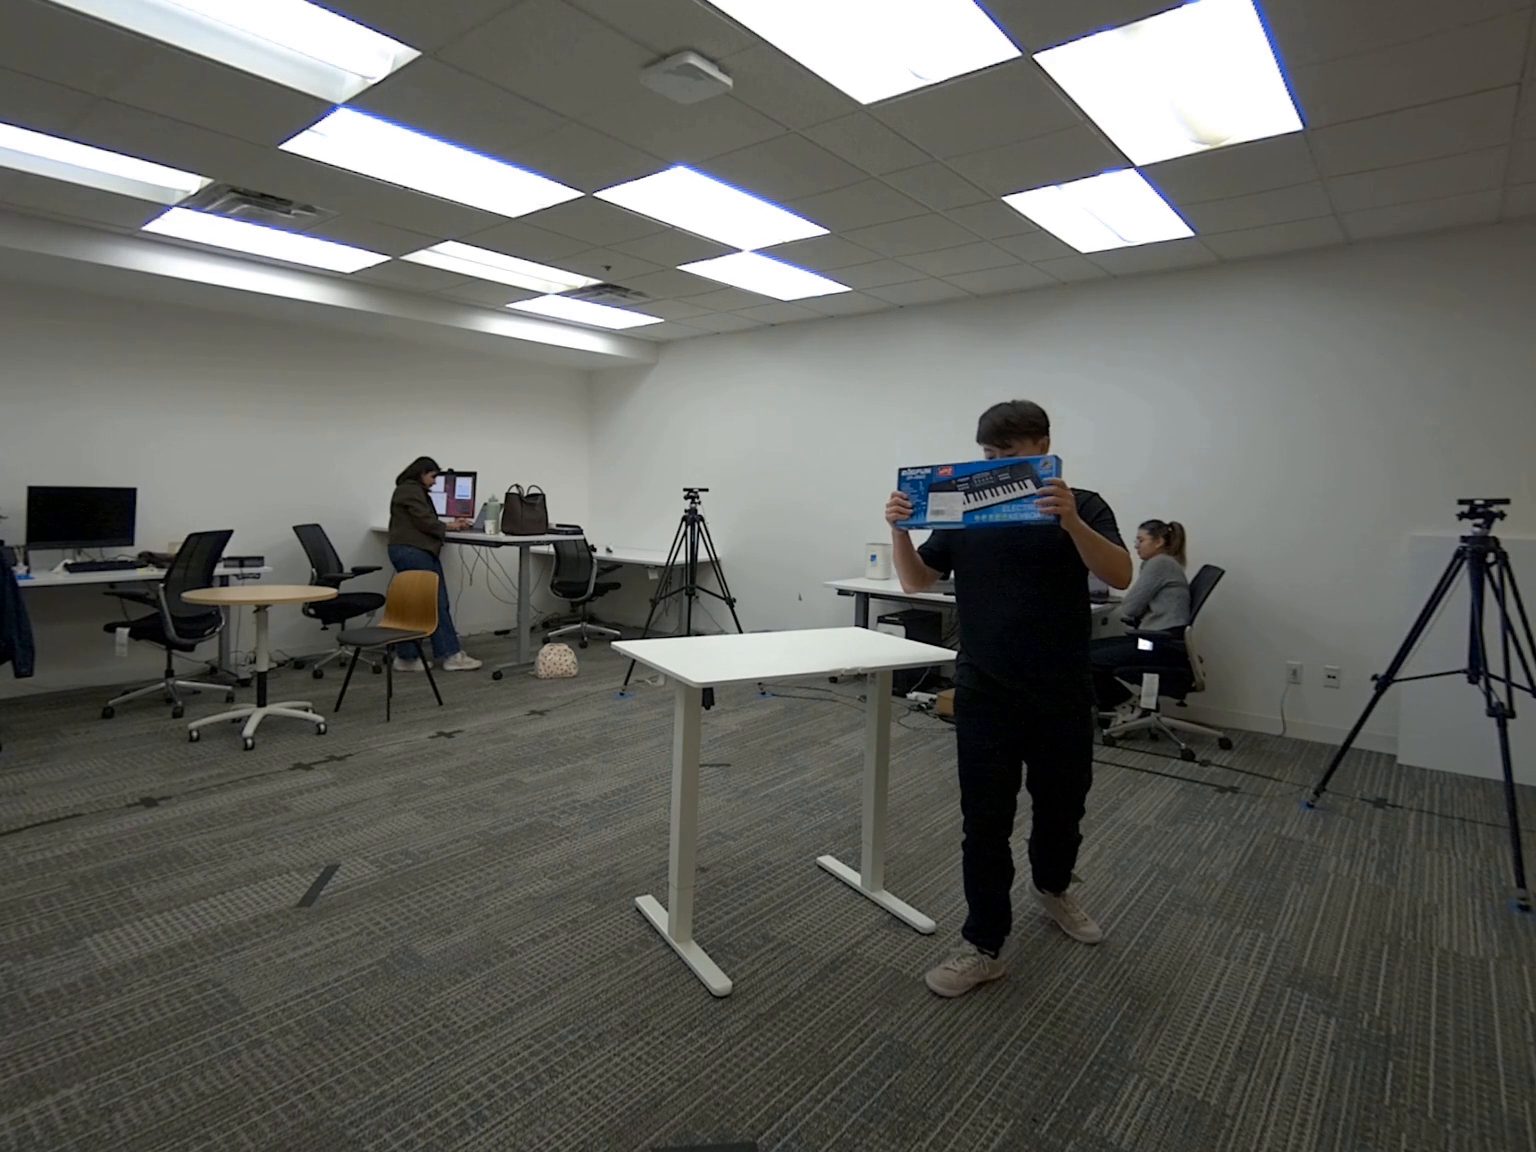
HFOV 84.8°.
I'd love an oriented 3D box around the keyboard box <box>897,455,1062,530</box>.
[{"bbox_3d":[0.559,-0.212,2.291,0.450,0.177,0.057,0,-10,36],"label":"keyboard box"}]
